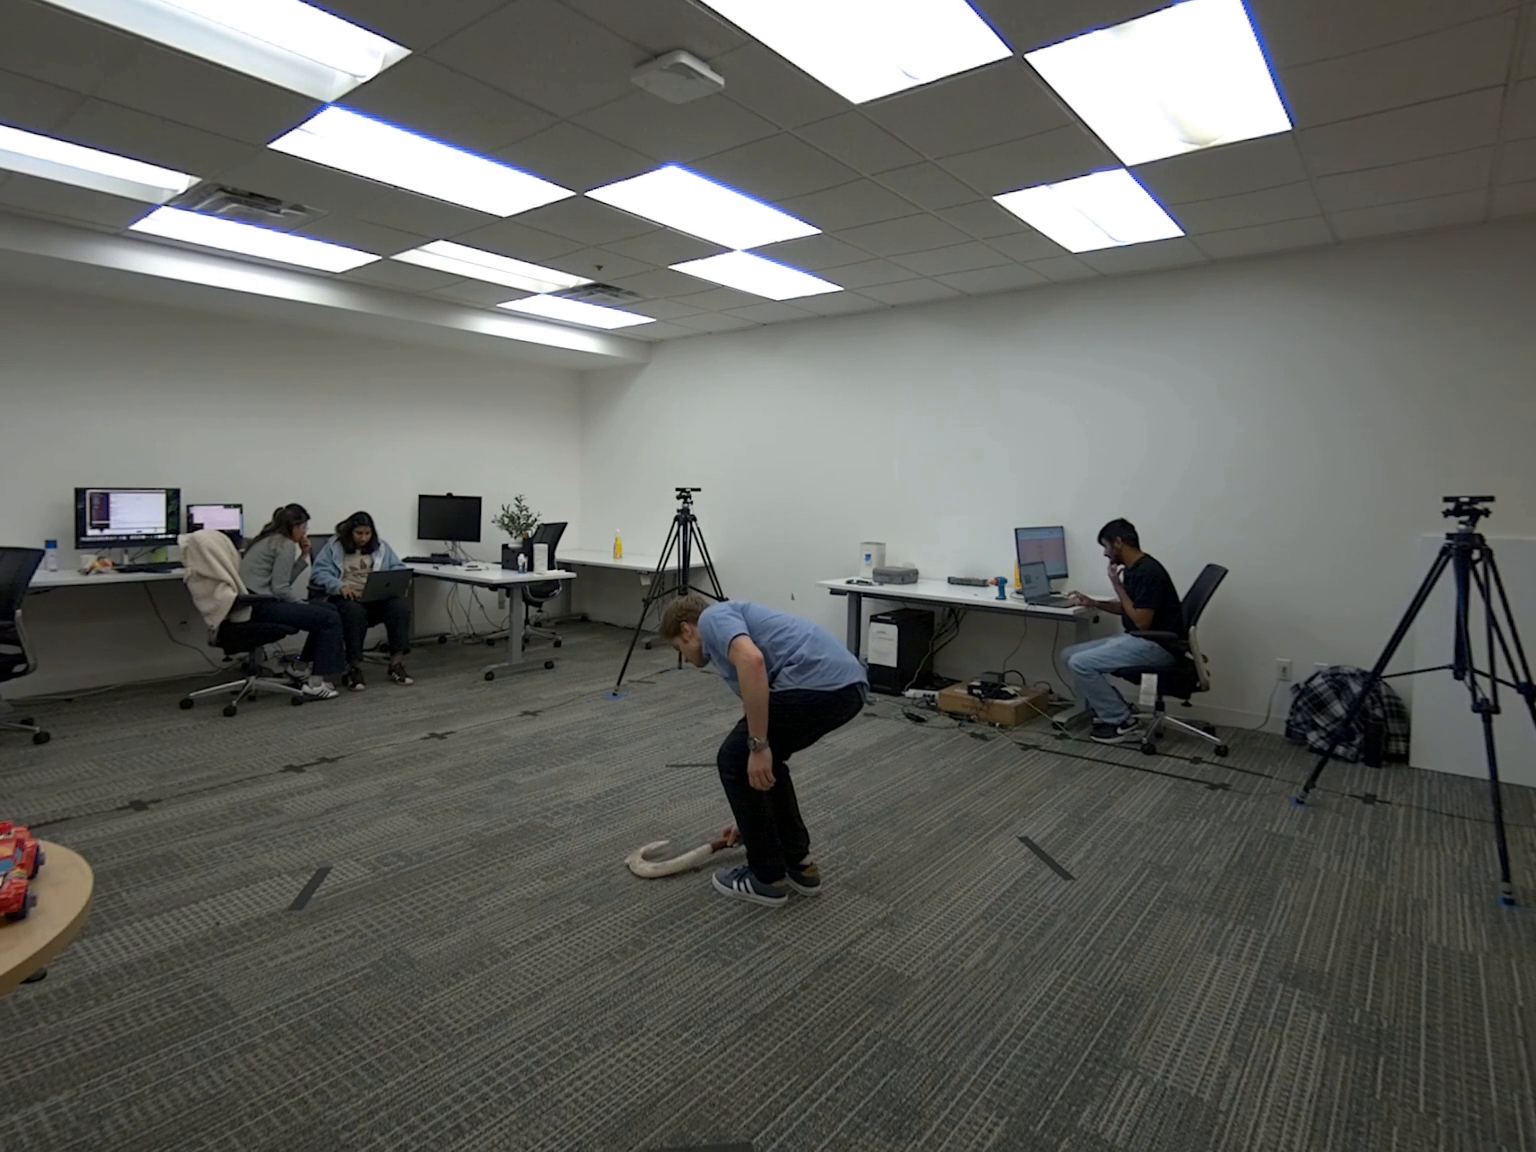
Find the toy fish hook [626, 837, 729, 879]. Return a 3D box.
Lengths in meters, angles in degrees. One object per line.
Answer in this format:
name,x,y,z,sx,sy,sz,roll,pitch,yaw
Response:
toy fish hook,-0.293,1.015,3.191,0.495,0.048,0.232,-8,14,-28
